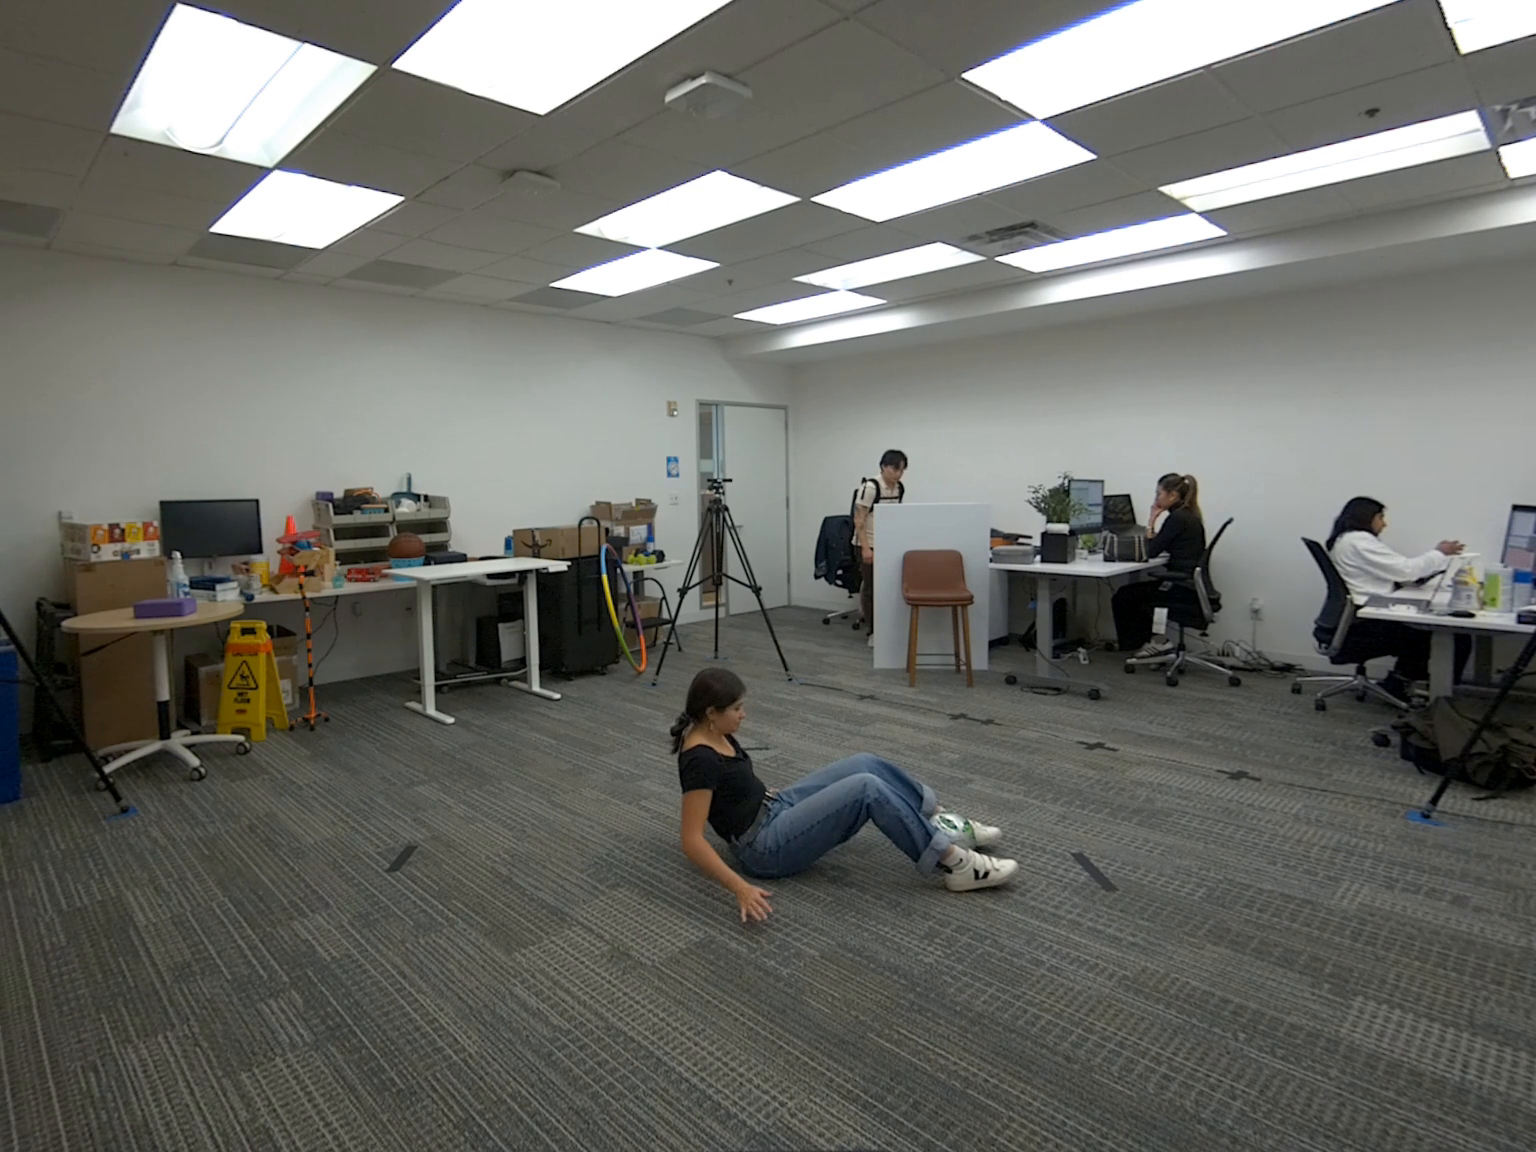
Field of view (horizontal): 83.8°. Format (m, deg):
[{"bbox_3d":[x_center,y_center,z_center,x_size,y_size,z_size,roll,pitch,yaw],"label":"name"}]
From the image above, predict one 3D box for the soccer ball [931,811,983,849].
[{"bbox_3d":[0.648,0.940,3.077,0.187,0.187,0.188,0,1,-2],"label":"soccer ball"}]
